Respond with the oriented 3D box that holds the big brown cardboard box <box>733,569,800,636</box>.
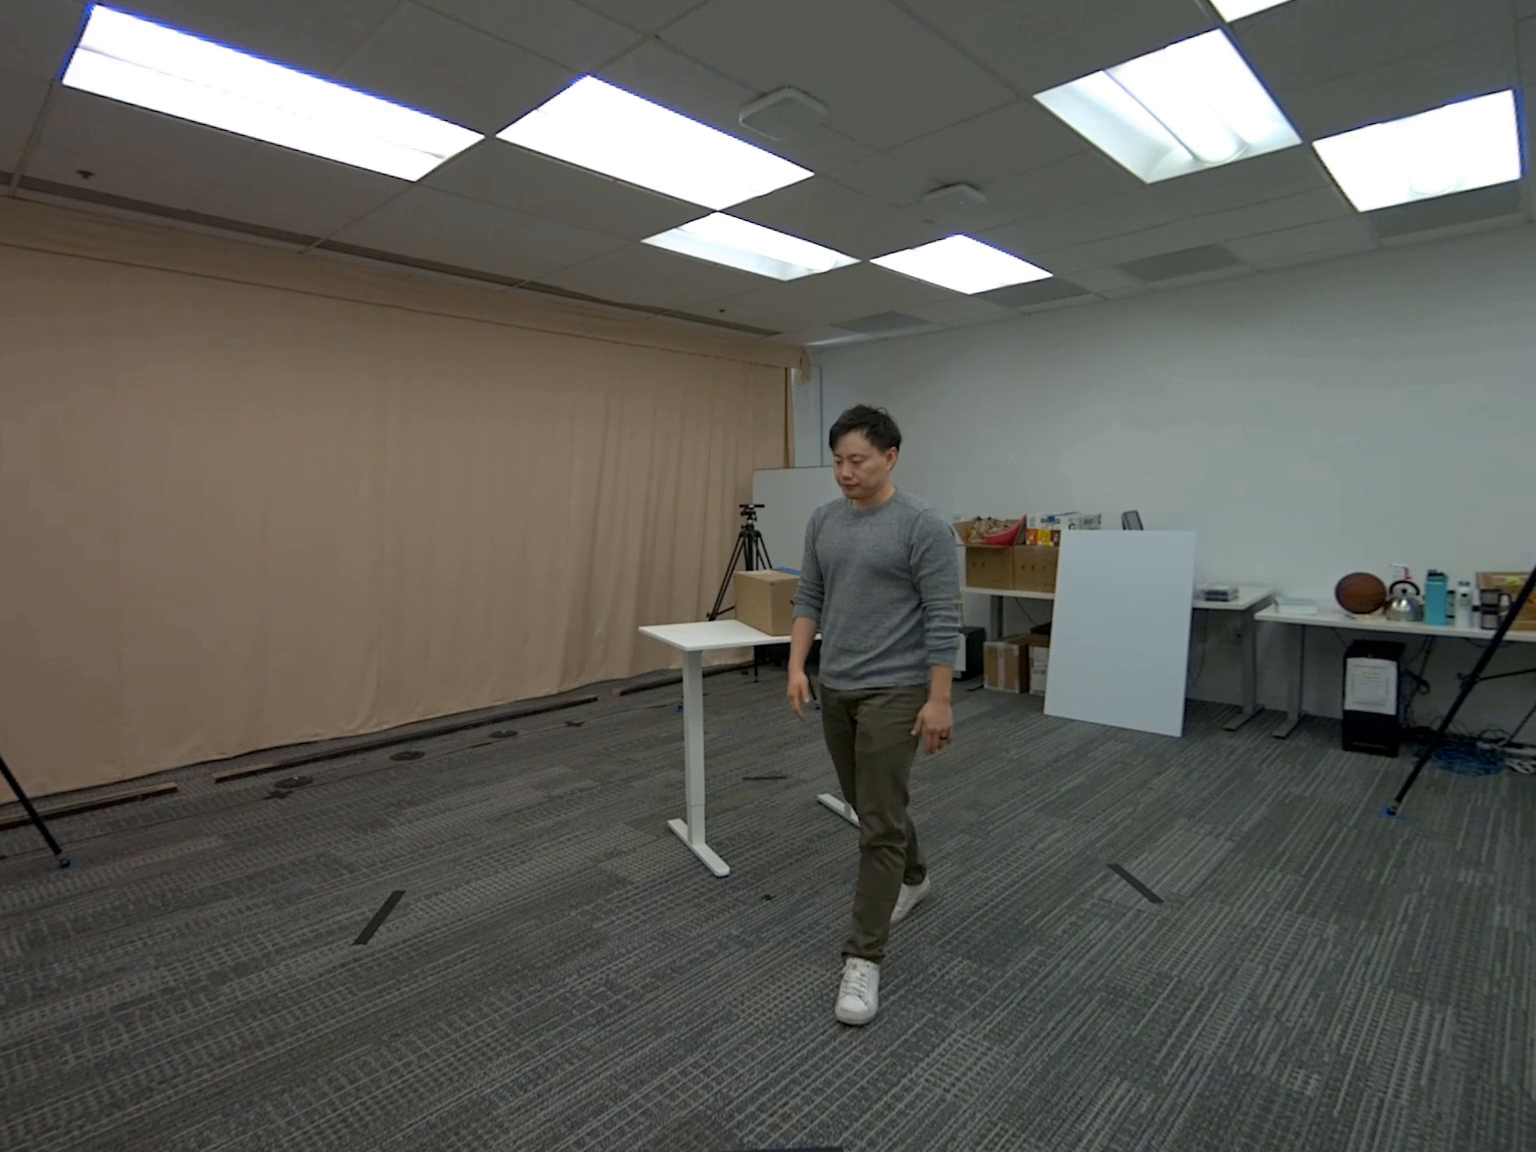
[{"bbox_3d":[0.119,0.096,3.560,0.411,0.232,0.600,-3,5,-16],"label":"big brown cardboard box"}]
